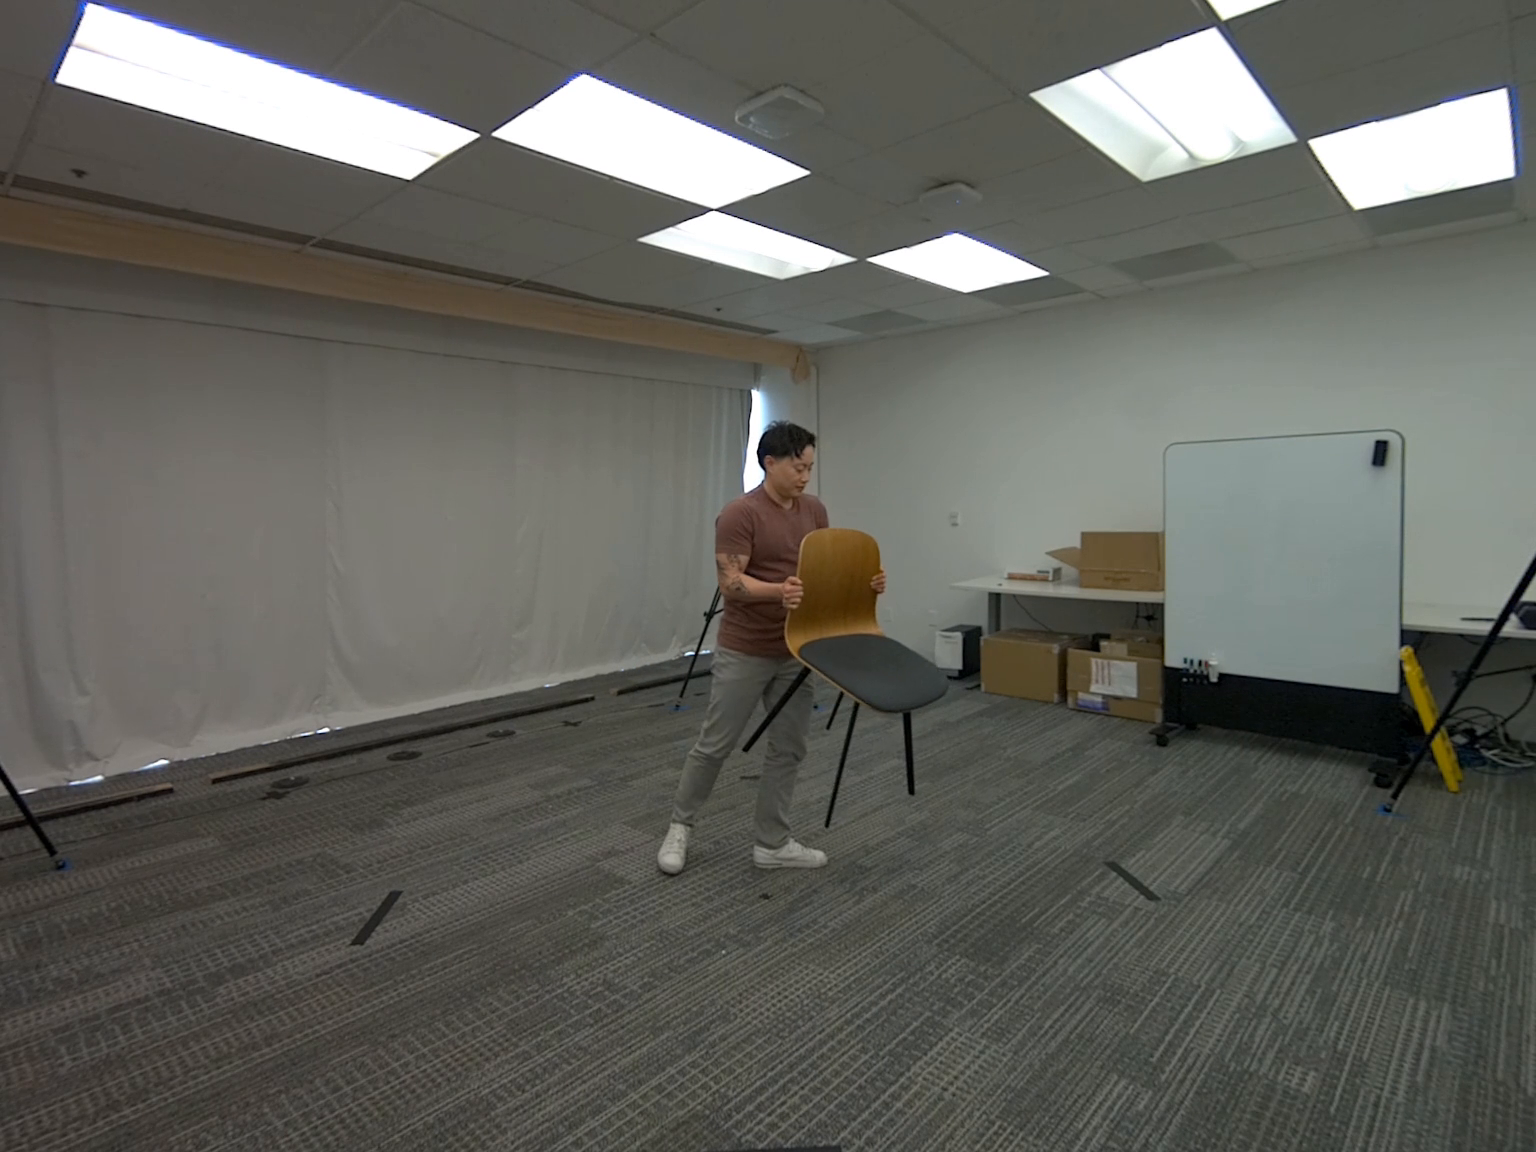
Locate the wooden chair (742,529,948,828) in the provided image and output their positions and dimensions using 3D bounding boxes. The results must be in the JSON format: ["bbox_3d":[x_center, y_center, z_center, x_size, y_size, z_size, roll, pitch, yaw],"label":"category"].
[{"bbox_3d":[0.318,0.332,2.896,0.464,0.871,0.543,-4,21,-41],"label":"wooden chair"}]
